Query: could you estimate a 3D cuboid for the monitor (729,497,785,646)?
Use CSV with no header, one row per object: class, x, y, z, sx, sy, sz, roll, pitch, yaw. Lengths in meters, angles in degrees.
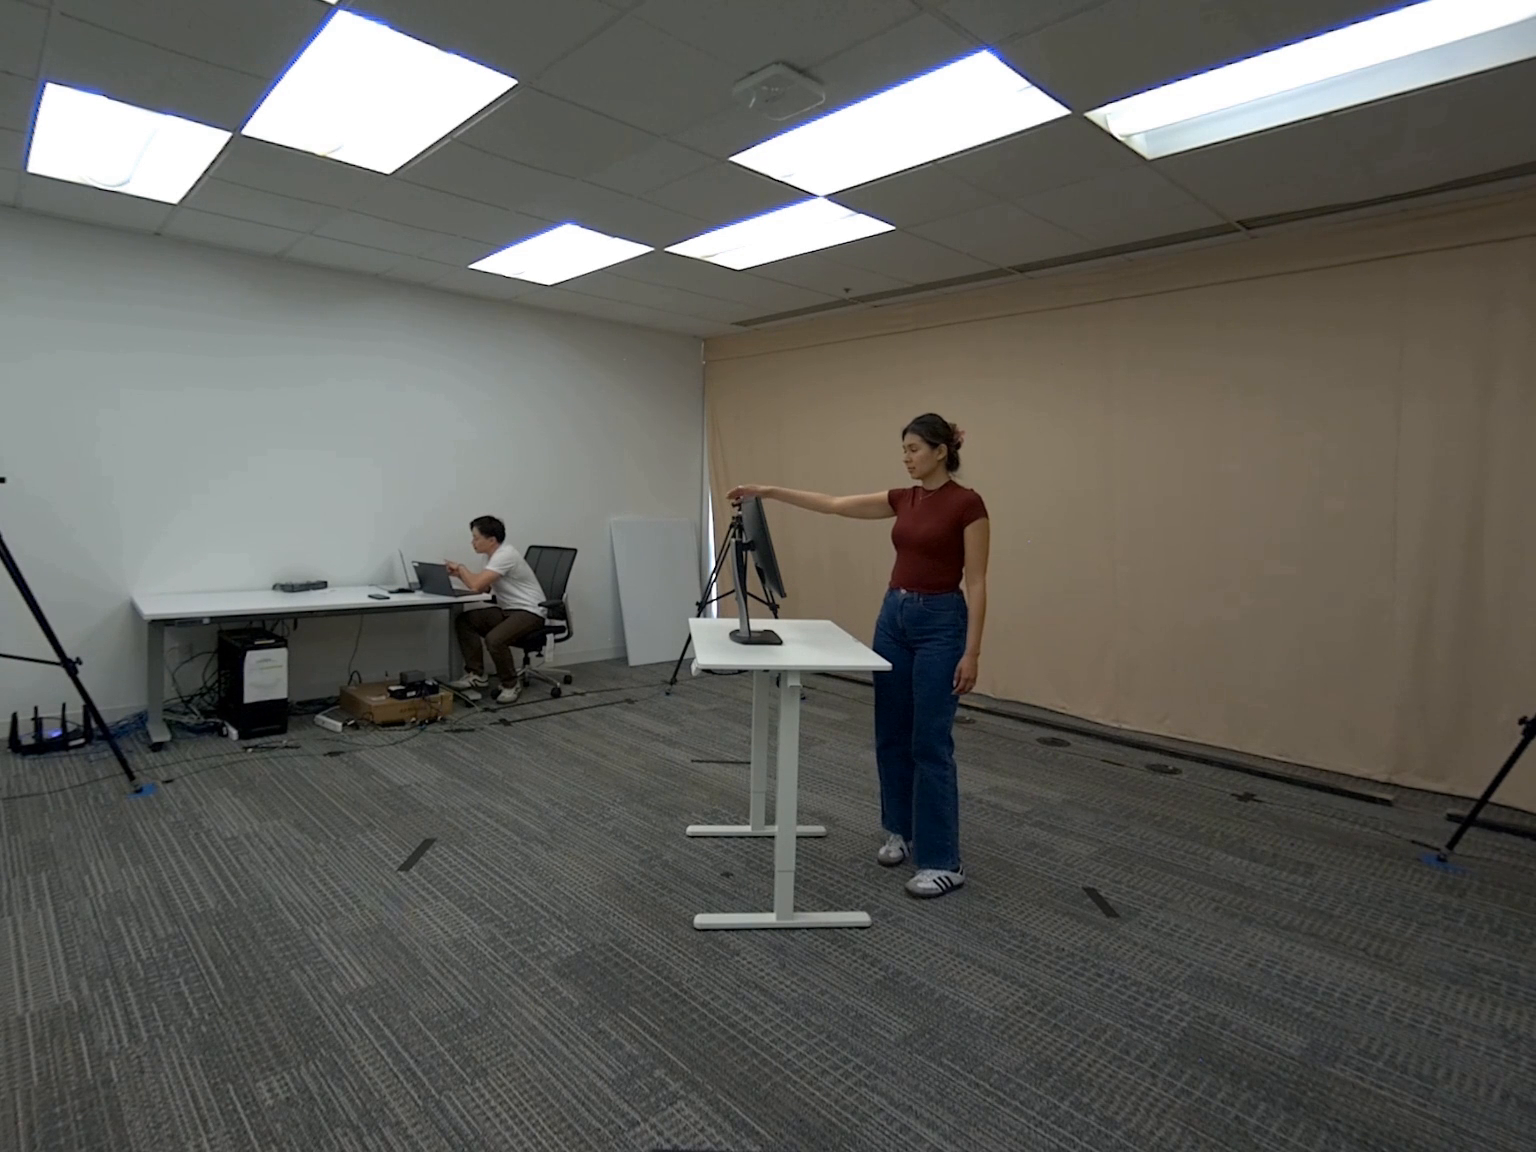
monitor,-0.061,-0.025,3.034,0.186,0.521,0.542,0,4,-6
